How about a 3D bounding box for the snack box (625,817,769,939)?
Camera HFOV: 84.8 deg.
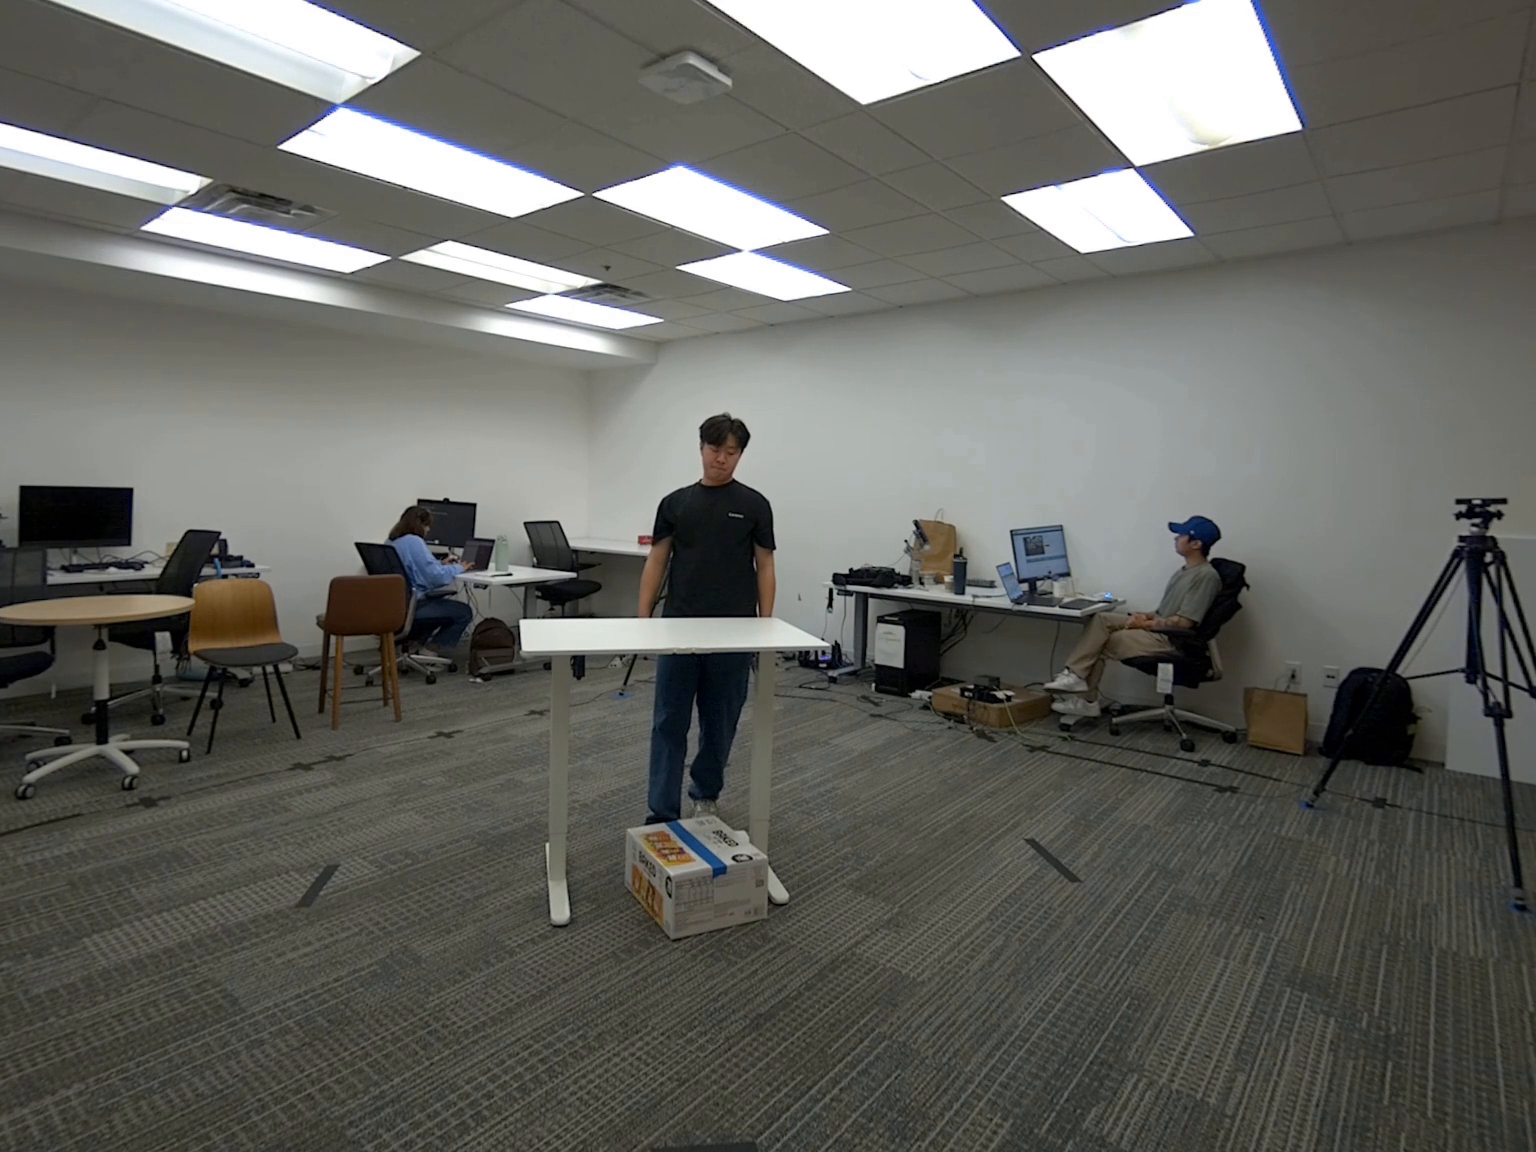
[{"bbox_3d":[-0.254,0.990,2.849,0.332,0.205,0.417,-1,5,-28],"label":"snack box"}]
